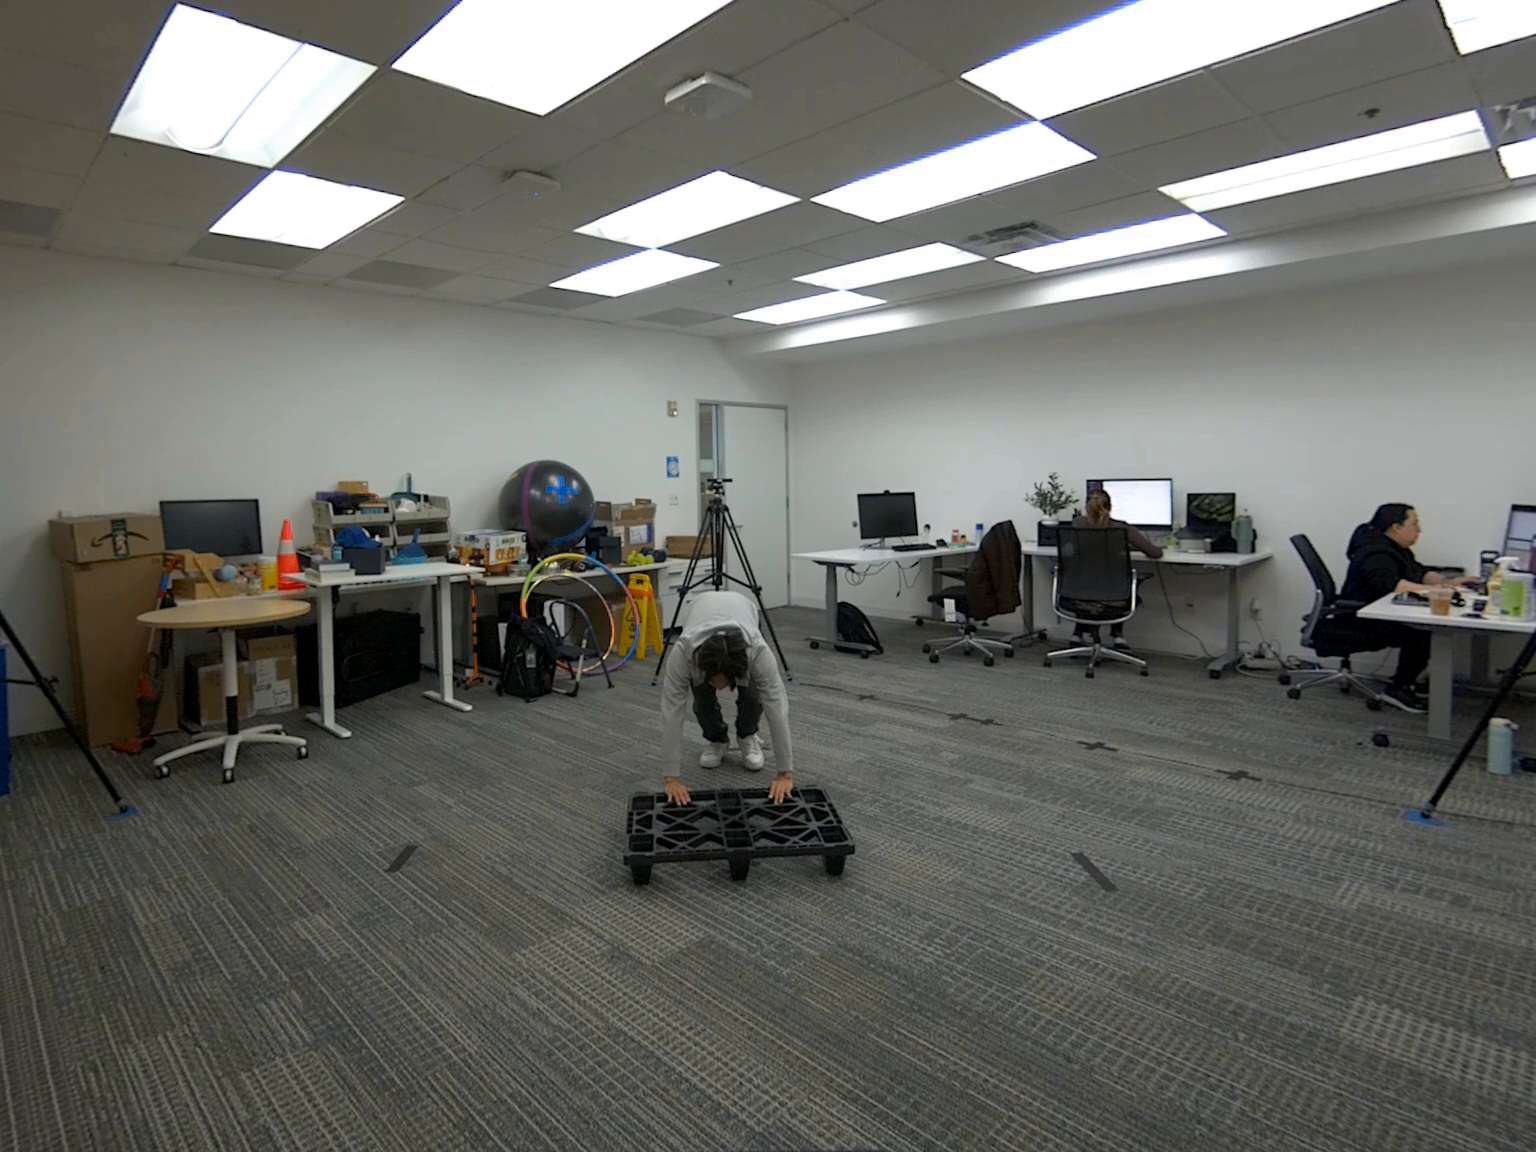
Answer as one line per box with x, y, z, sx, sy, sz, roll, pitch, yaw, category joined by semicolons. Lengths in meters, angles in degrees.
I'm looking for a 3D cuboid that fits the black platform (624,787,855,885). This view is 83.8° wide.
-0.125;0.966;3.198;0.802;0.142;0.611;-2;7;-5;black platform
